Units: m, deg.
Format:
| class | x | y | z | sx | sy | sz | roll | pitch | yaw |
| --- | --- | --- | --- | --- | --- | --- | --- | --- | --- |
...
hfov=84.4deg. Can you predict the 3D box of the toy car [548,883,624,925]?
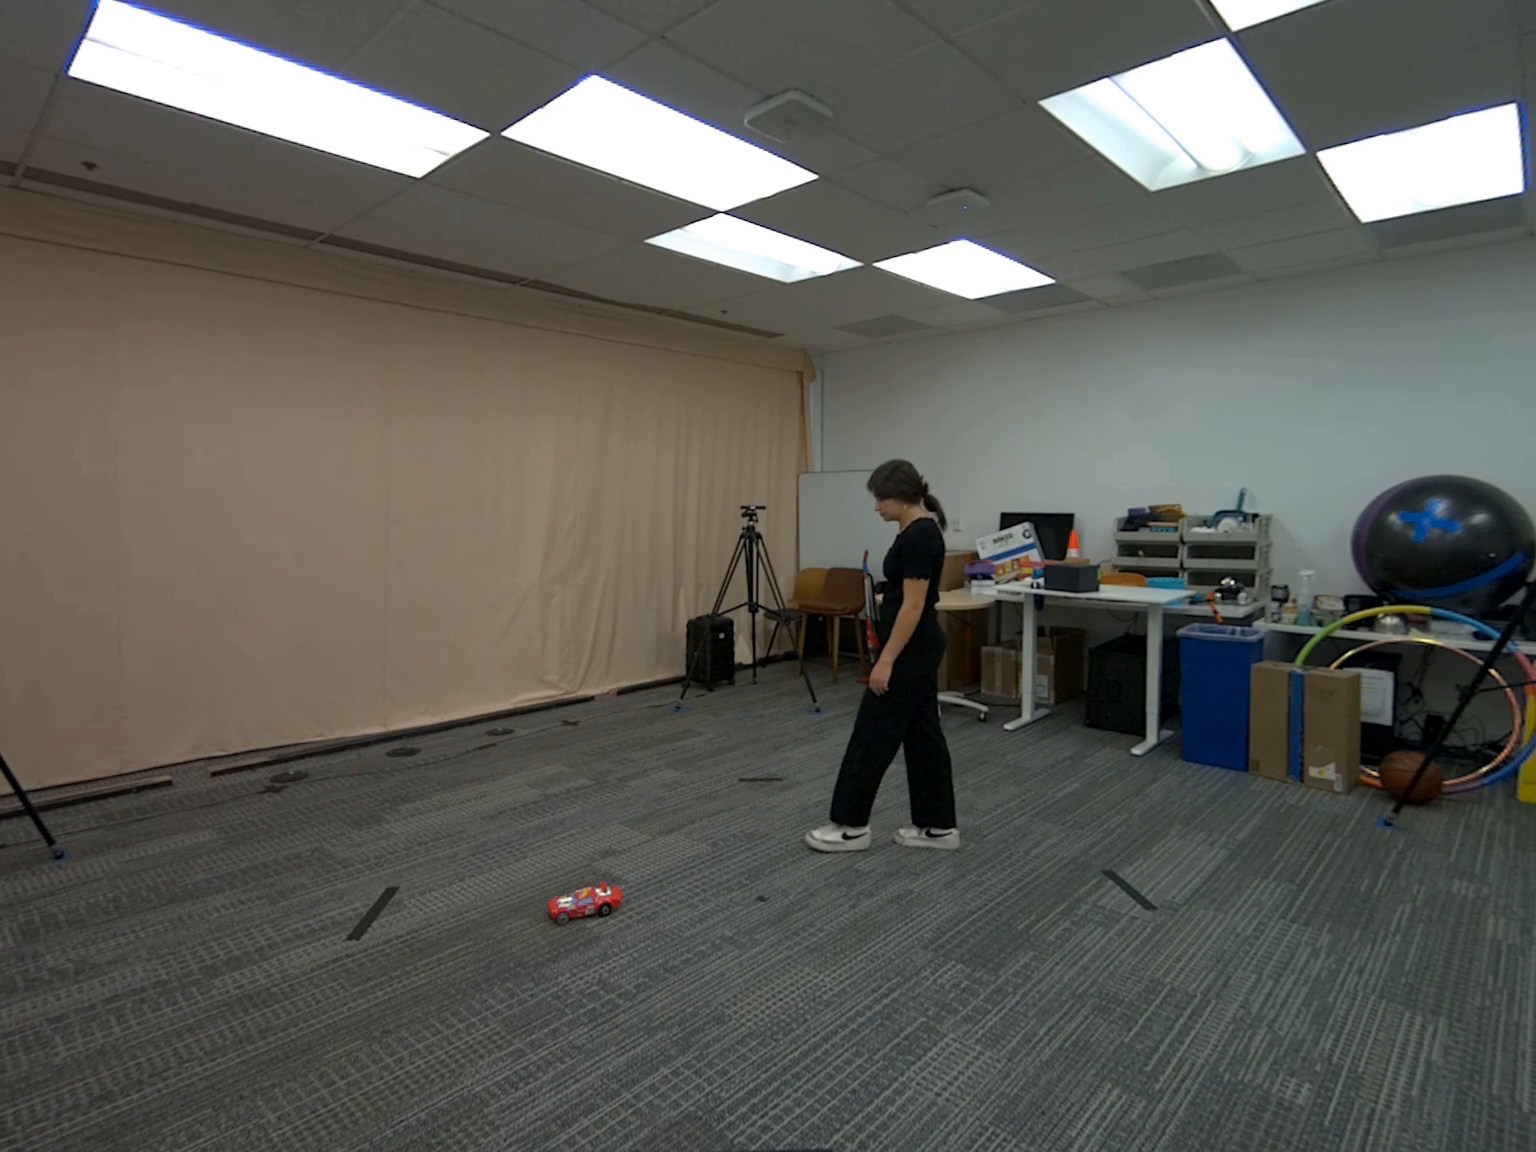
| class | x | y | z | sx | sy | sz | roll | pitch | yaw |
| --- | --- | --- | --- | --- | --- | --- | --- | --- | --- |
| toy car | -0.626 | 1.127 | 2.889 | 0.250 | 0.083 | 0.133 | -13 | 8 | -21 |
